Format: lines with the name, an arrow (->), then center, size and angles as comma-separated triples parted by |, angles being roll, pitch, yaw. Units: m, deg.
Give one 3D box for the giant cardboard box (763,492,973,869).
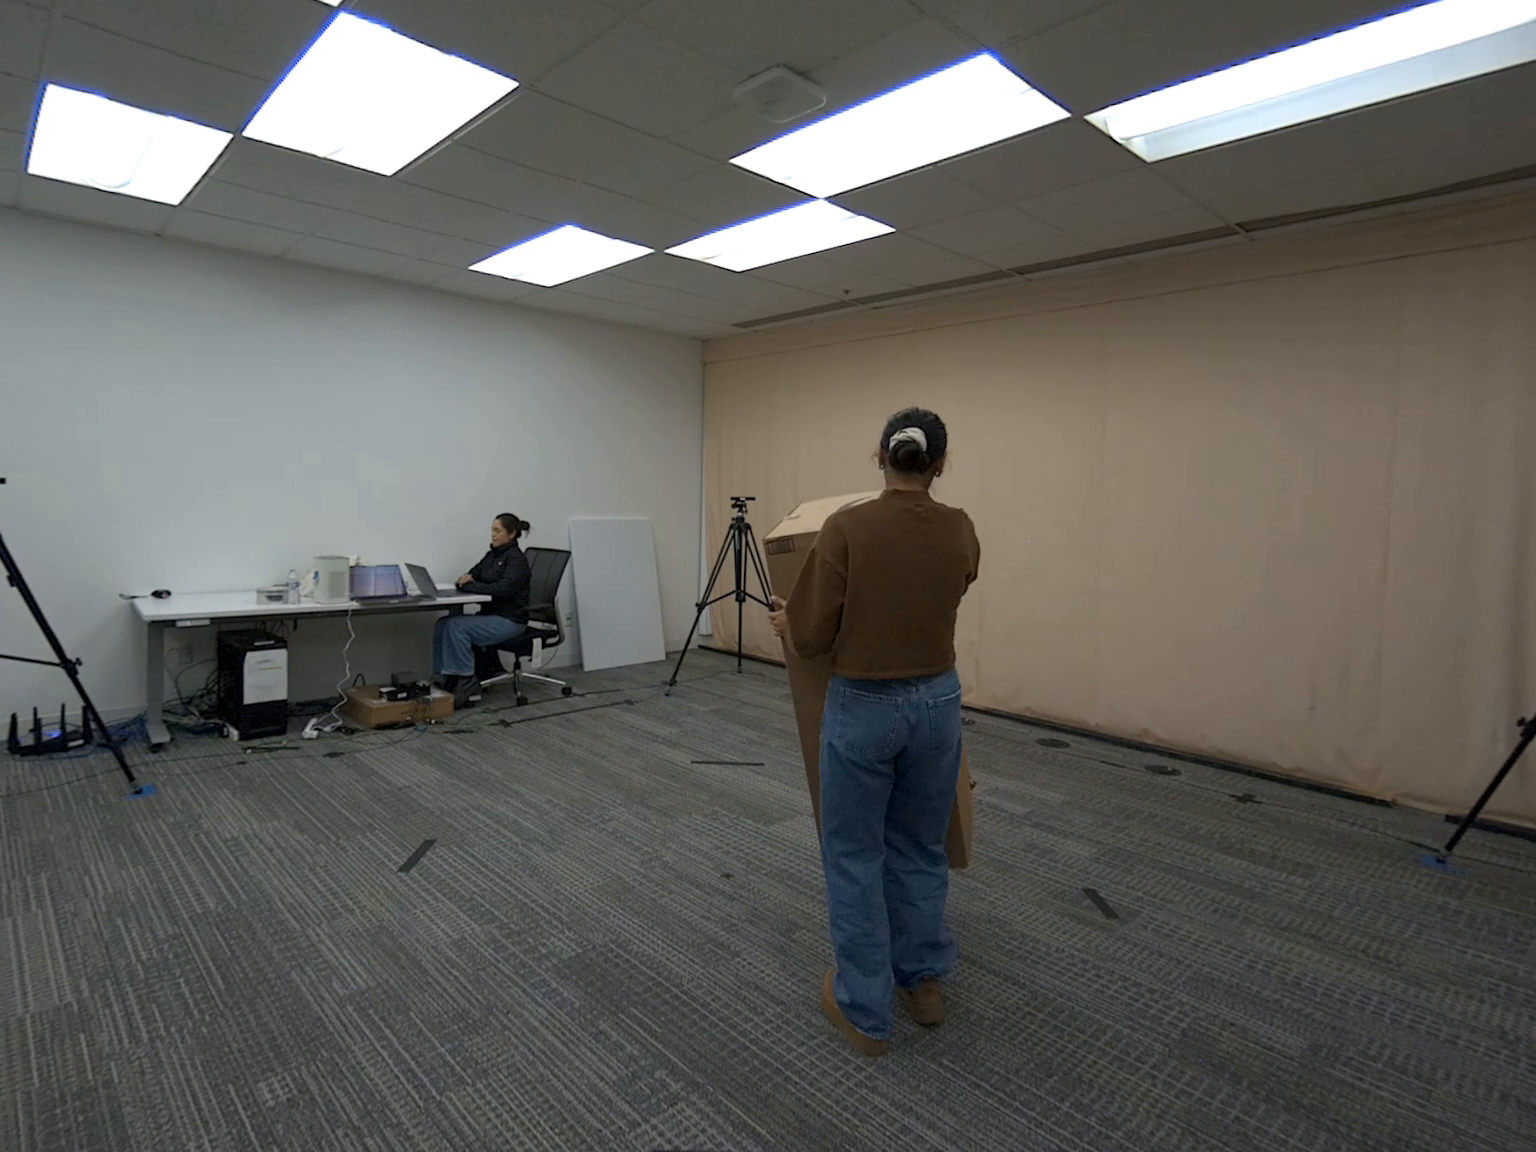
giant cardboard box -> 0.346, 0.305, 2.618 | 0.431, 1.017, 0.575 | -8, 10, 18
